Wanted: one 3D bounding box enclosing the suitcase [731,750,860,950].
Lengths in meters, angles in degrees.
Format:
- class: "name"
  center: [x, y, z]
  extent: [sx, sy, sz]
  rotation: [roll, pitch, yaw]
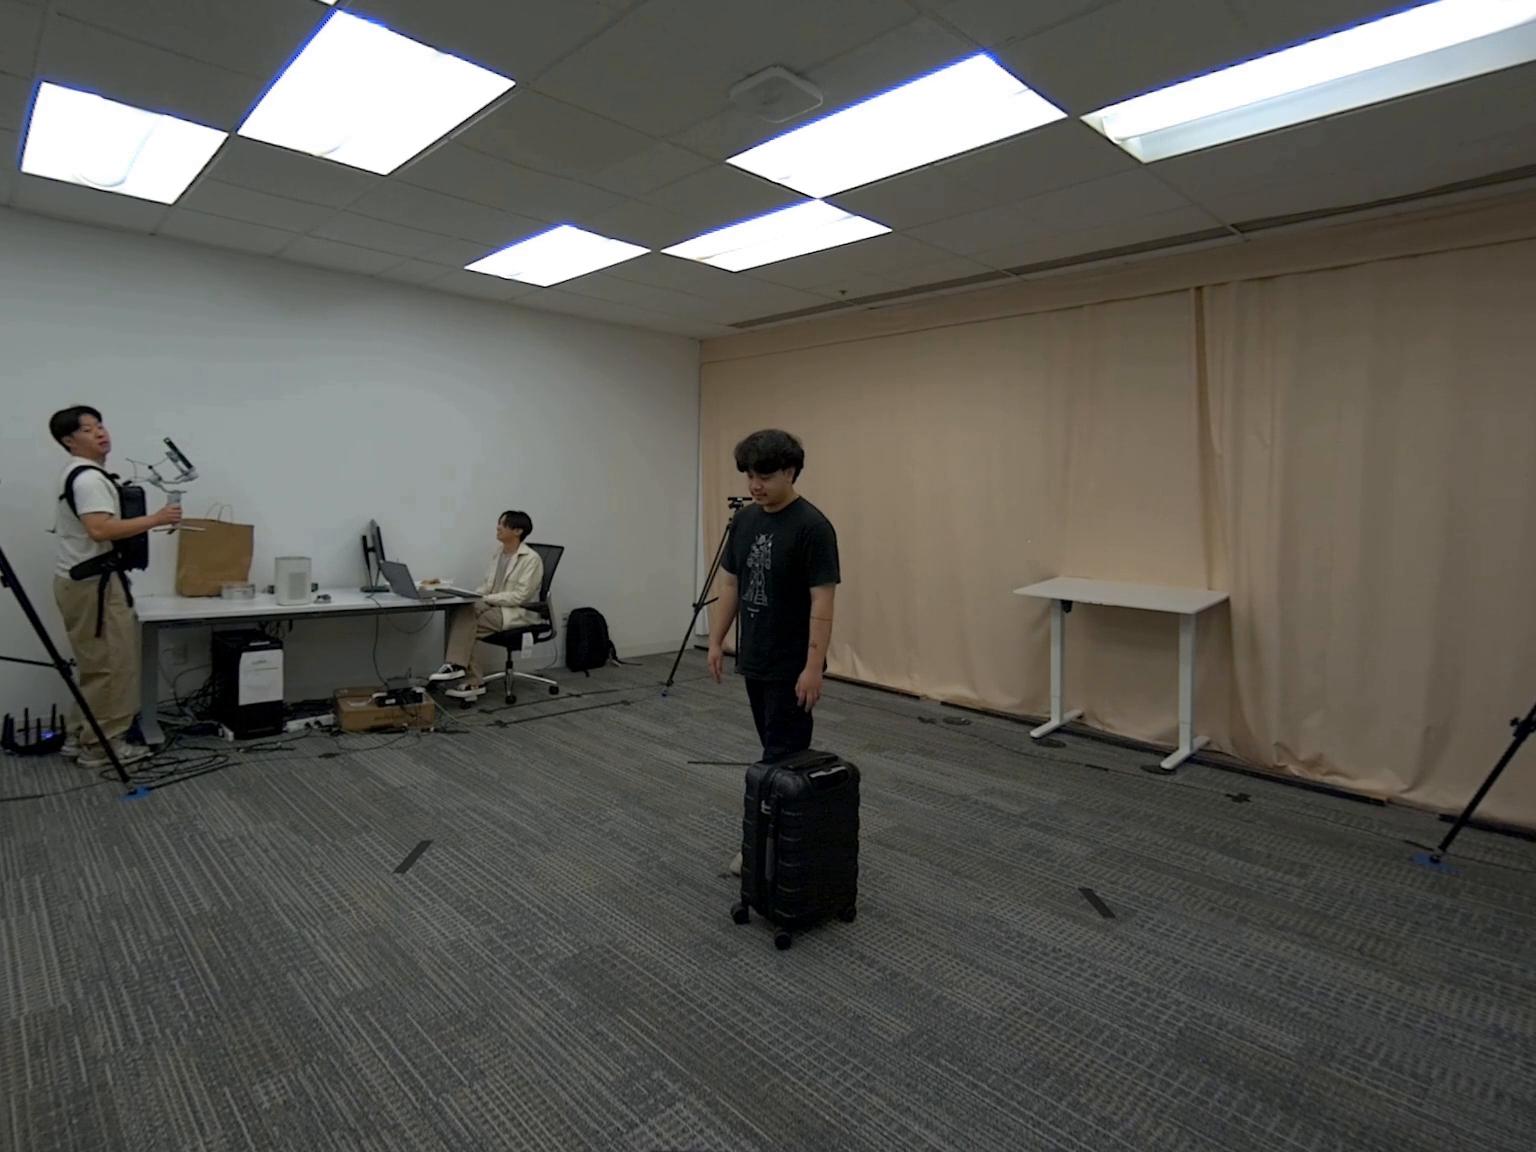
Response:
- class: "suitcase"
  center: [0.102, 0.867, 2.773]
  extent: [0.367, 0.548, 0.255]
  rotation: [-2, 6, -42]
